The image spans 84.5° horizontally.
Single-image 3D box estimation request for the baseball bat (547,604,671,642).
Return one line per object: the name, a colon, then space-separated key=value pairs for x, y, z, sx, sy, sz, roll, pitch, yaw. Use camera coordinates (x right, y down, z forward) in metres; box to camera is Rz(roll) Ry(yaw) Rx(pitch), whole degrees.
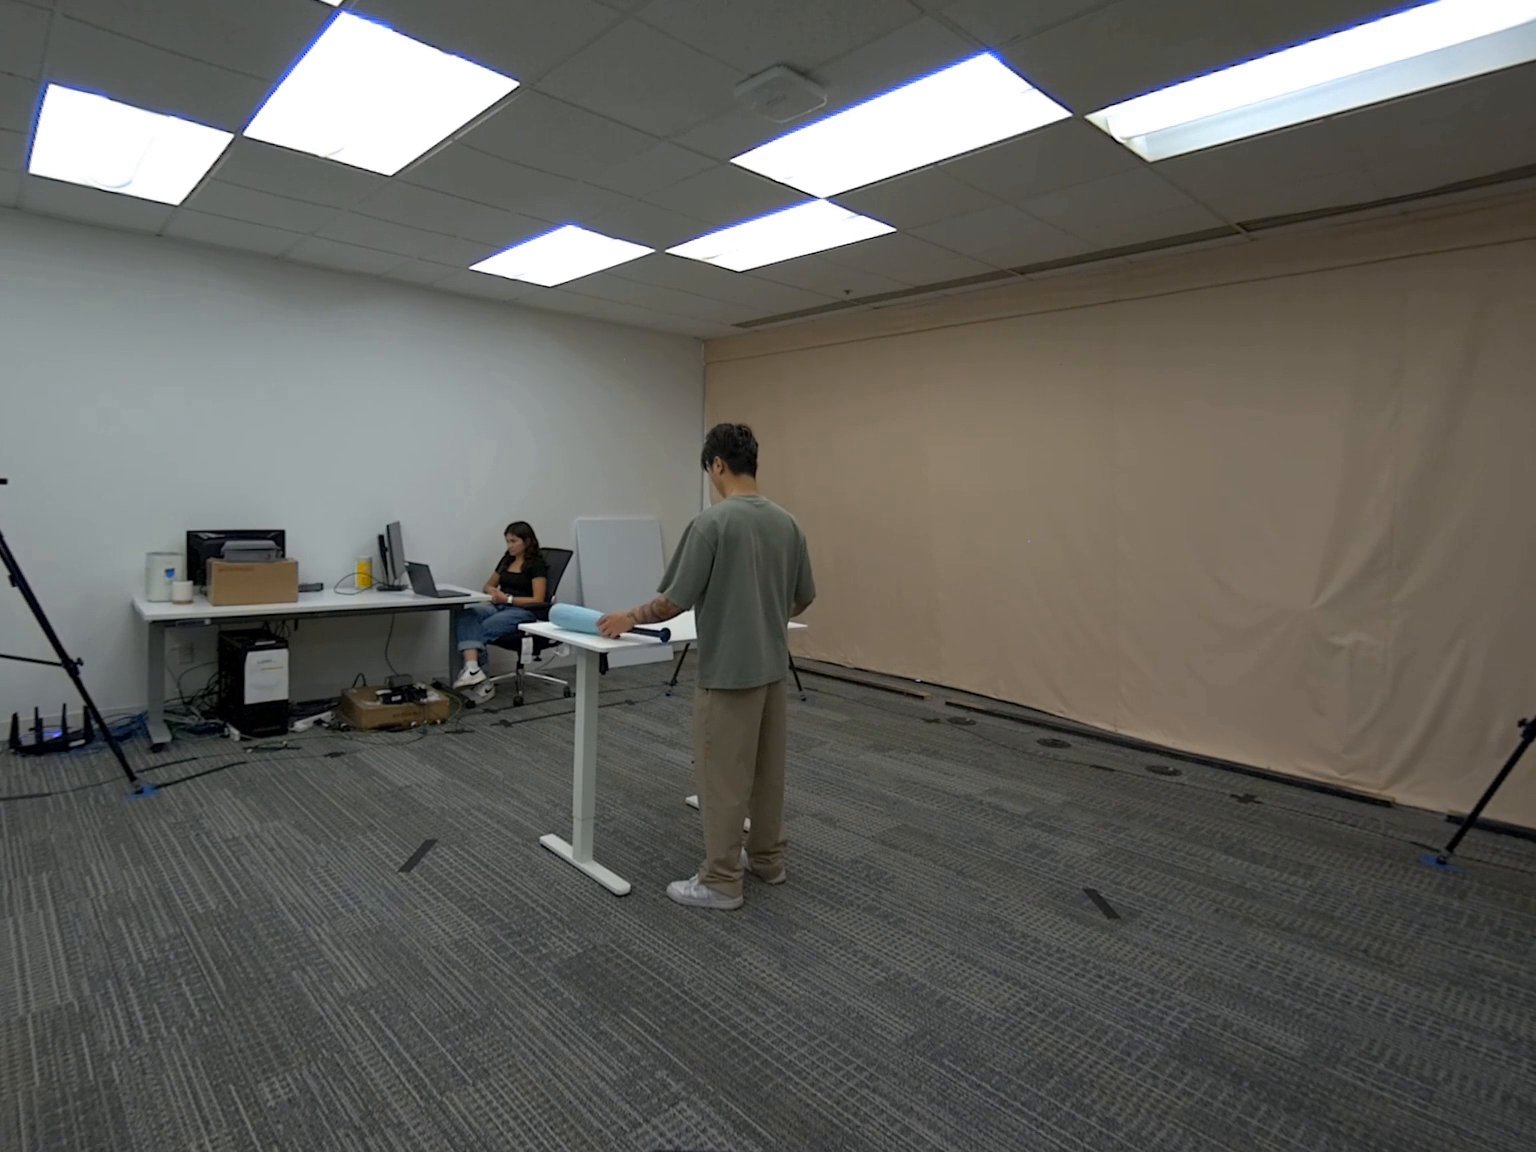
baseball bat: x=-0.574 y=0.179 z=3.039 sx=0.556 sy=0.089 sz=0.087 roll=8 pitch=7 yaw=30
